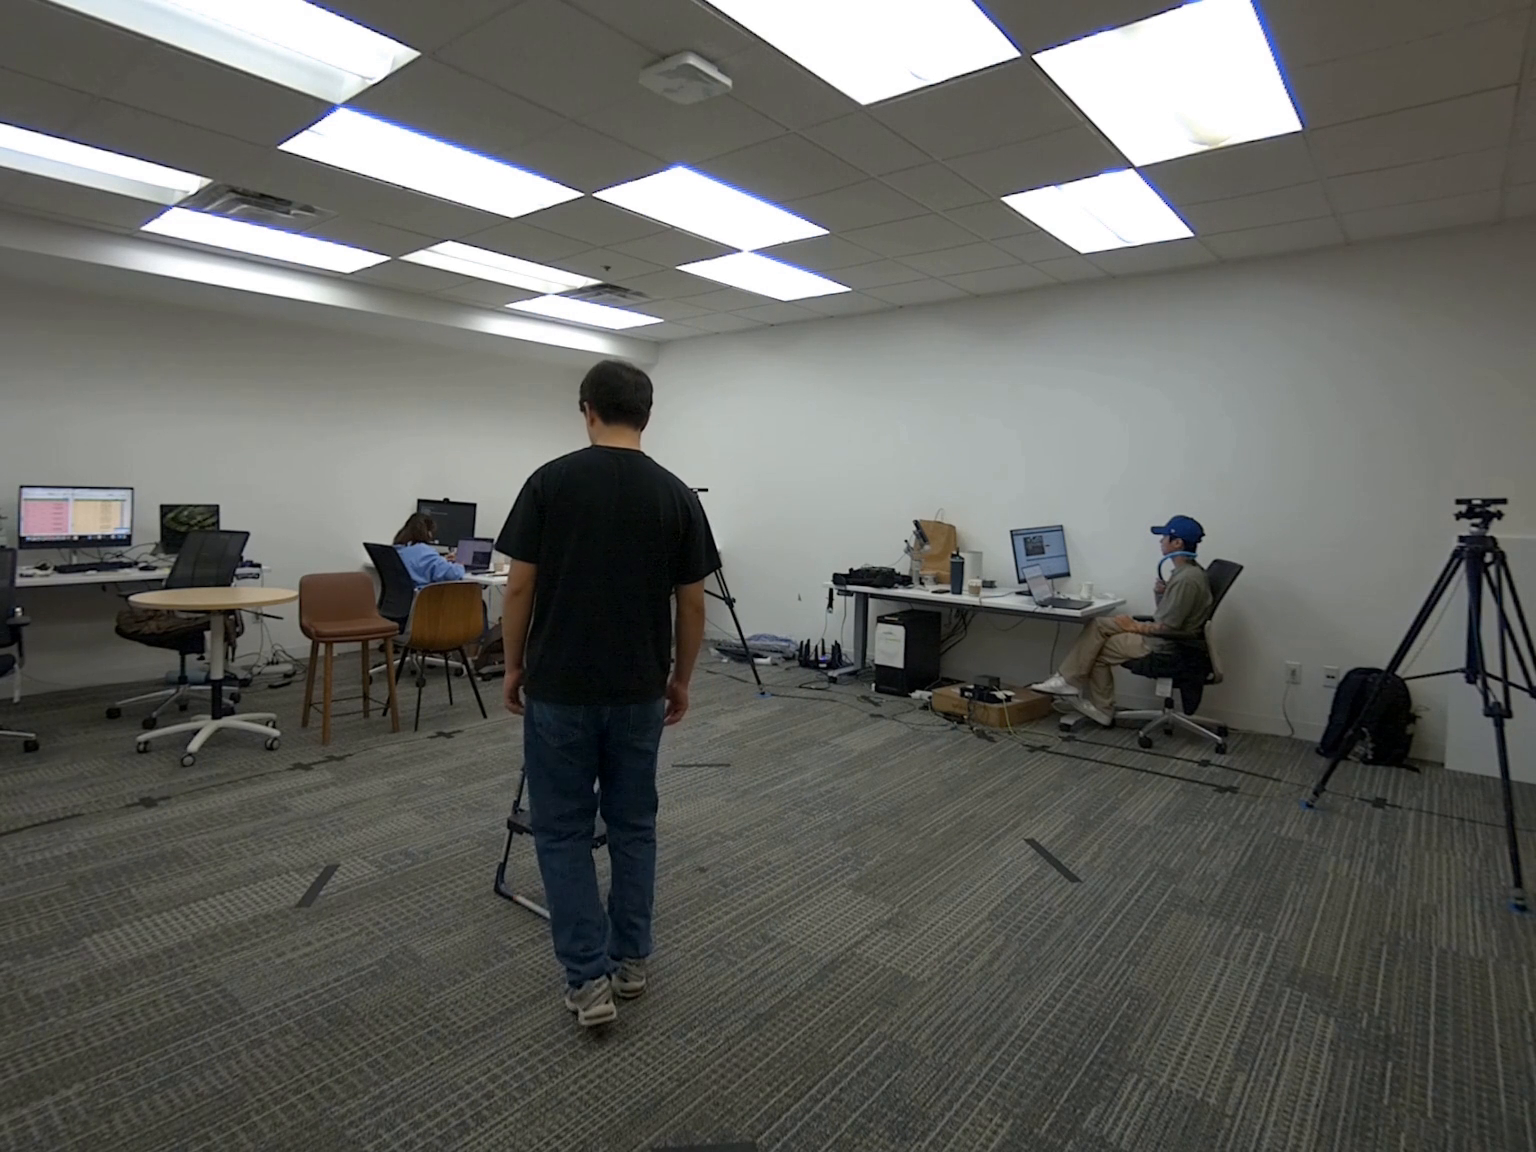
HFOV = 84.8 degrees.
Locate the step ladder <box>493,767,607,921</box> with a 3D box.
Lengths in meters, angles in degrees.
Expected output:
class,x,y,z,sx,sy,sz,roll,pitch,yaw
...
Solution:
class,x,y,z,sx,sy,sz,roll,pitch,yaw
step ladder,-0.675,0.773,2.881,0.445,0.604,0.339,4,5,39
